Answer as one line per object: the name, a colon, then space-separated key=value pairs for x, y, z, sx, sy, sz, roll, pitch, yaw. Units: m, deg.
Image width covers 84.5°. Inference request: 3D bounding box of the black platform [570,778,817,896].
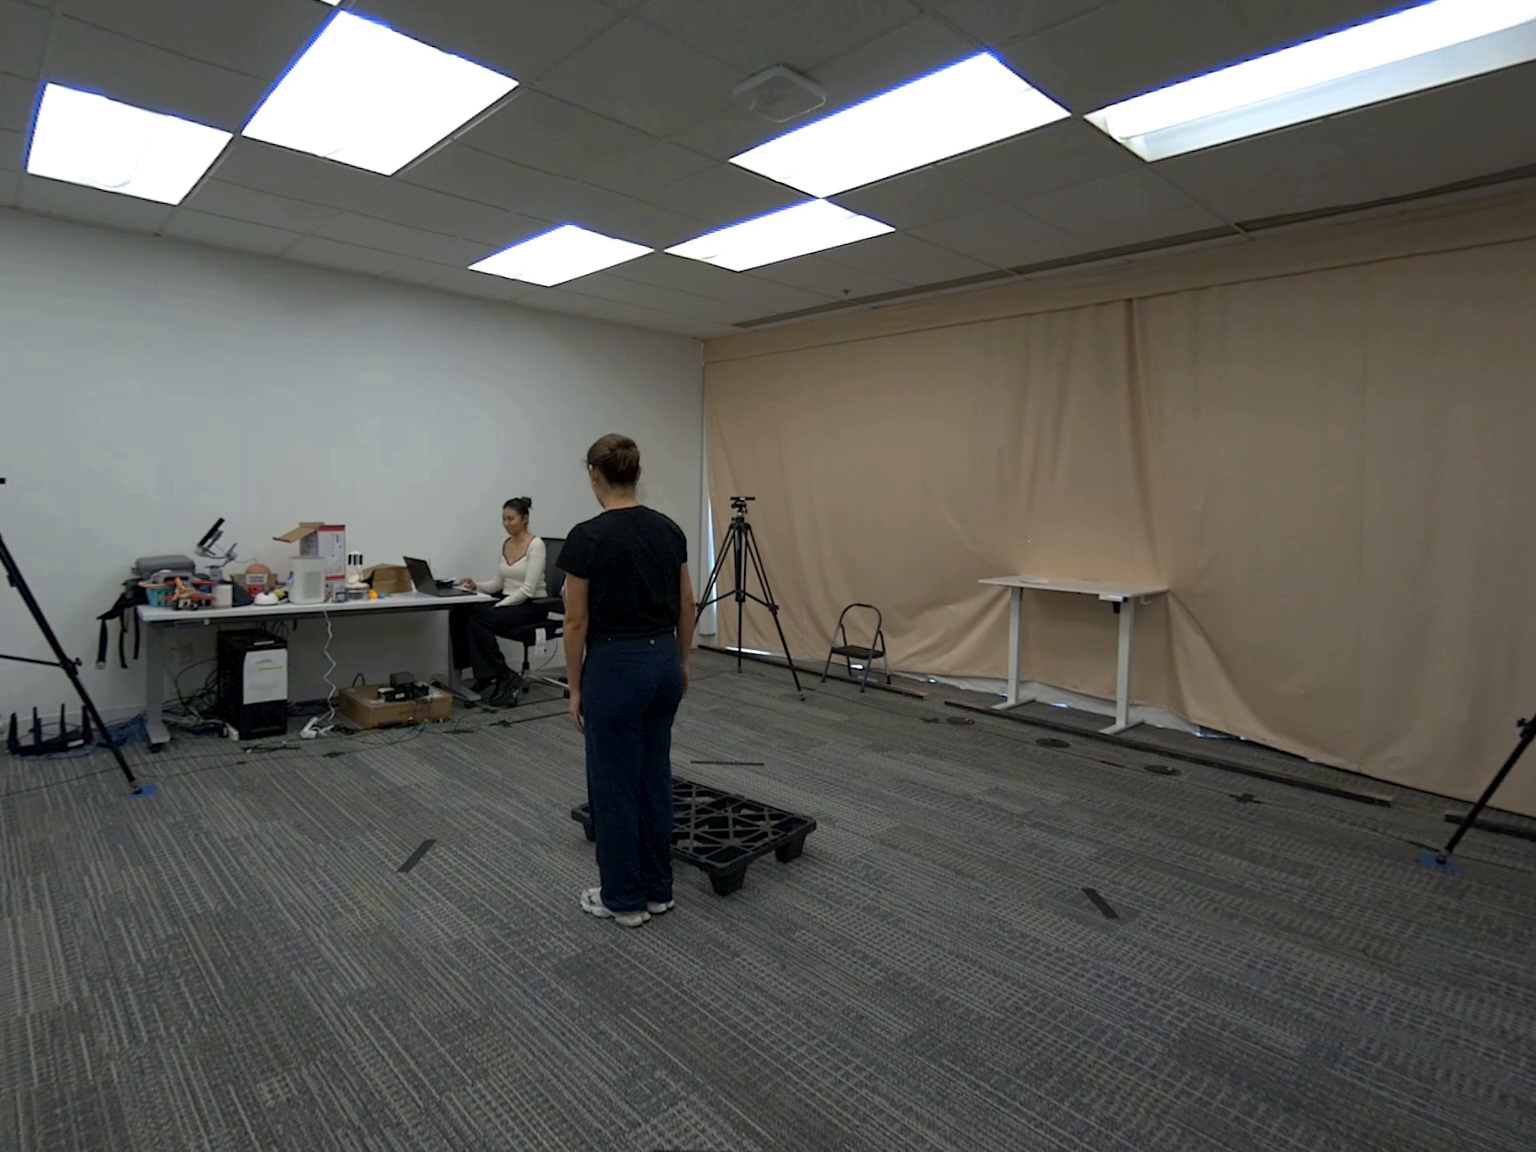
black platform: x=-0.302 y=1.018 z=3.327 sx=0.825 sy=0.143 sz=0.592 roll=5 pitch=7 yaw=38
